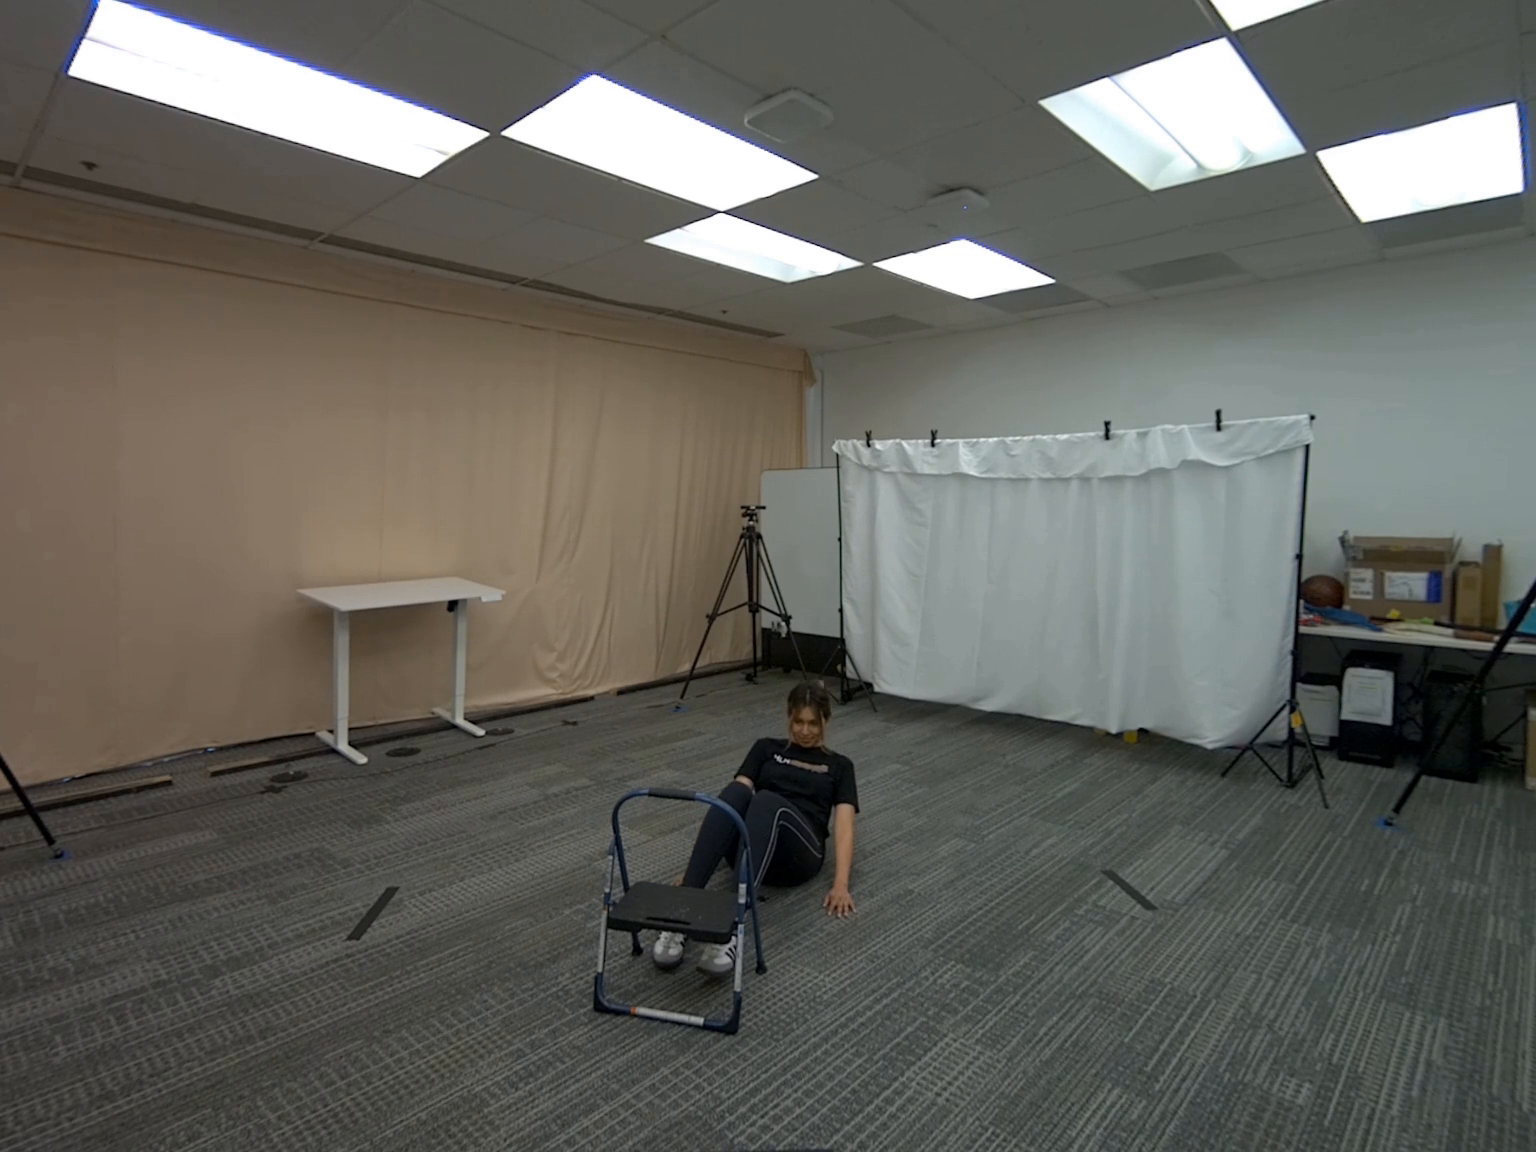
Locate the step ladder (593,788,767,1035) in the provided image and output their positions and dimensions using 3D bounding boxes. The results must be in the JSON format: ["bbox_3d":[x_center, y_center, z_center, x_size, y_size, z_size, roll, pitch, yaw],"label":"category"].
[{"bbox_3d":[-0.250,0.888,2.412,0.437,0.605,0.344,1,4,14],"label":"step ladder"}]
